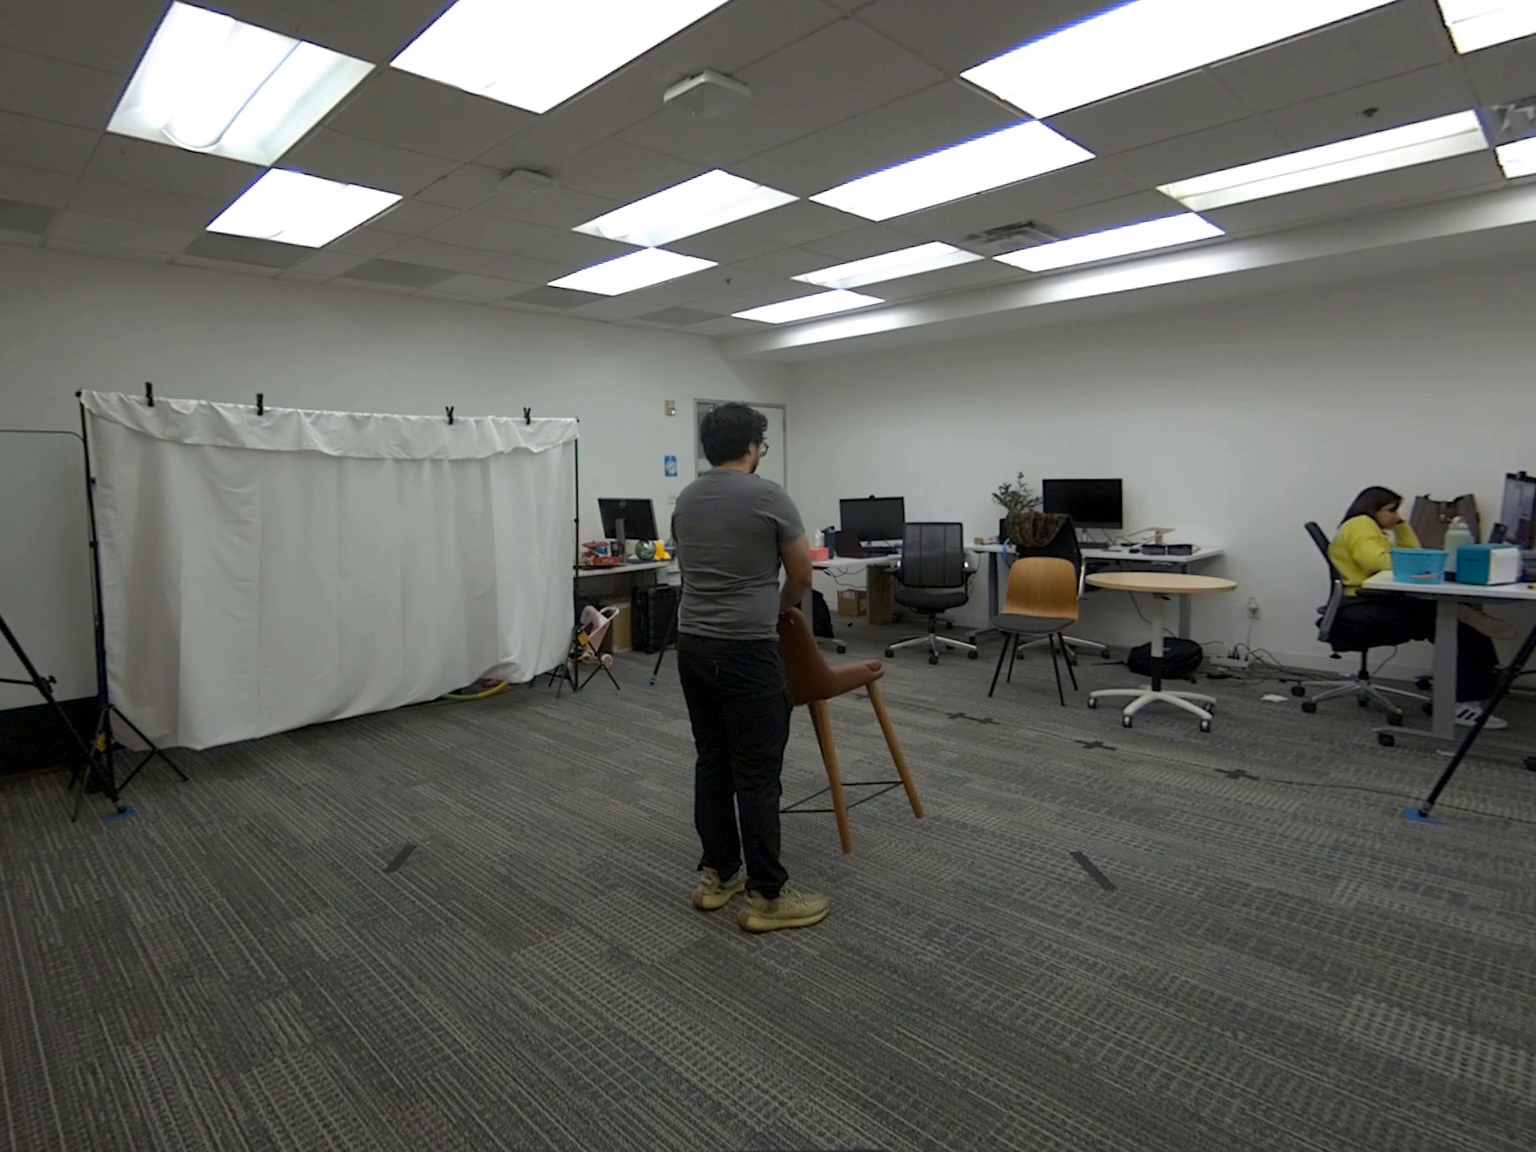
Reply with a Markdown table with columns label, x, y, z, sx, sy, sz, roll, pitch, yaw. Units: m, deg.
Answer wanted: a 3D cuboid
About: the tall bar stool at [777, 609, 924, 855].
| label | x | y | z | sx | sy | sz | roll | pitch | yaw |
| --- | --- | --- | --- | --- | --- | --- | --- | --- | --- |
| tall bar stool | 0.195 | 0.550 | 3.264 | 0.456 | 0.895 | 0.465 | -9 | -7 | -45 |
